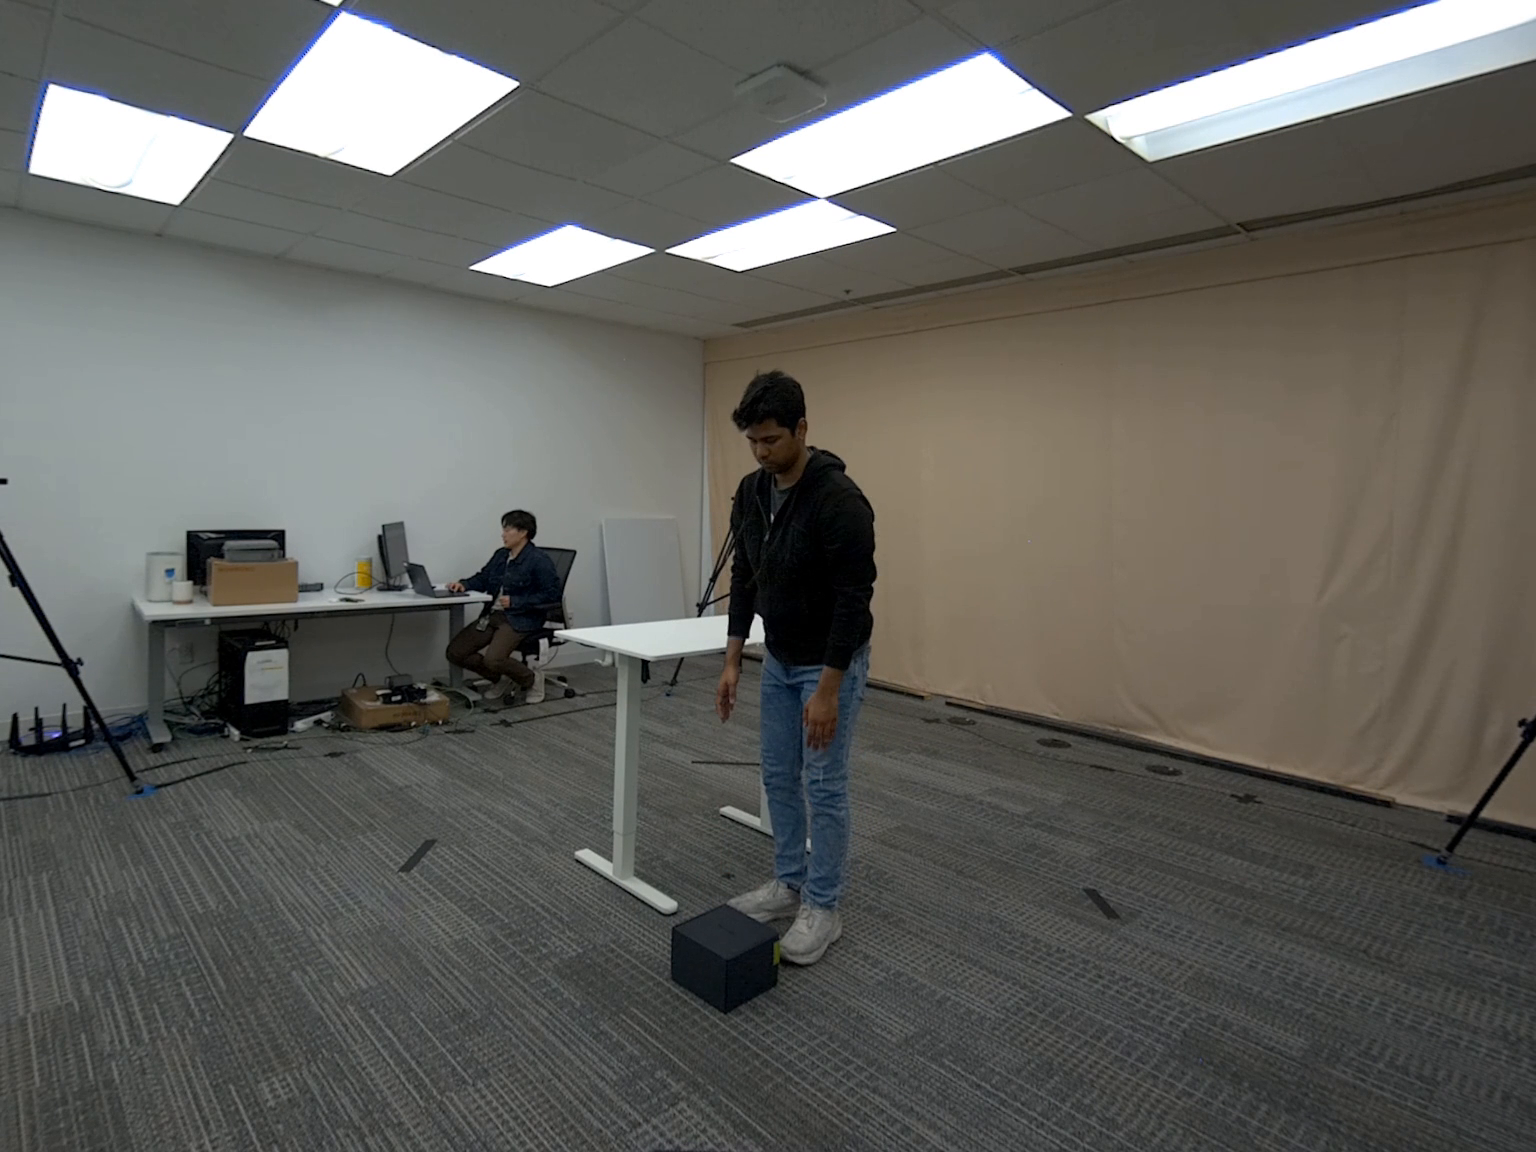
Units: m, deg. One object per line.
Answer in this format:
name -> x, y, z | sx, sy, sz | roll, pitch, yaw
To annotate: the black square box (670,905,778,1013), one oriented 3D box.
black square box -> -0.126, 1.087, 2.415 | 0.234, 0.155, 0.212 | 6, 6, 43
